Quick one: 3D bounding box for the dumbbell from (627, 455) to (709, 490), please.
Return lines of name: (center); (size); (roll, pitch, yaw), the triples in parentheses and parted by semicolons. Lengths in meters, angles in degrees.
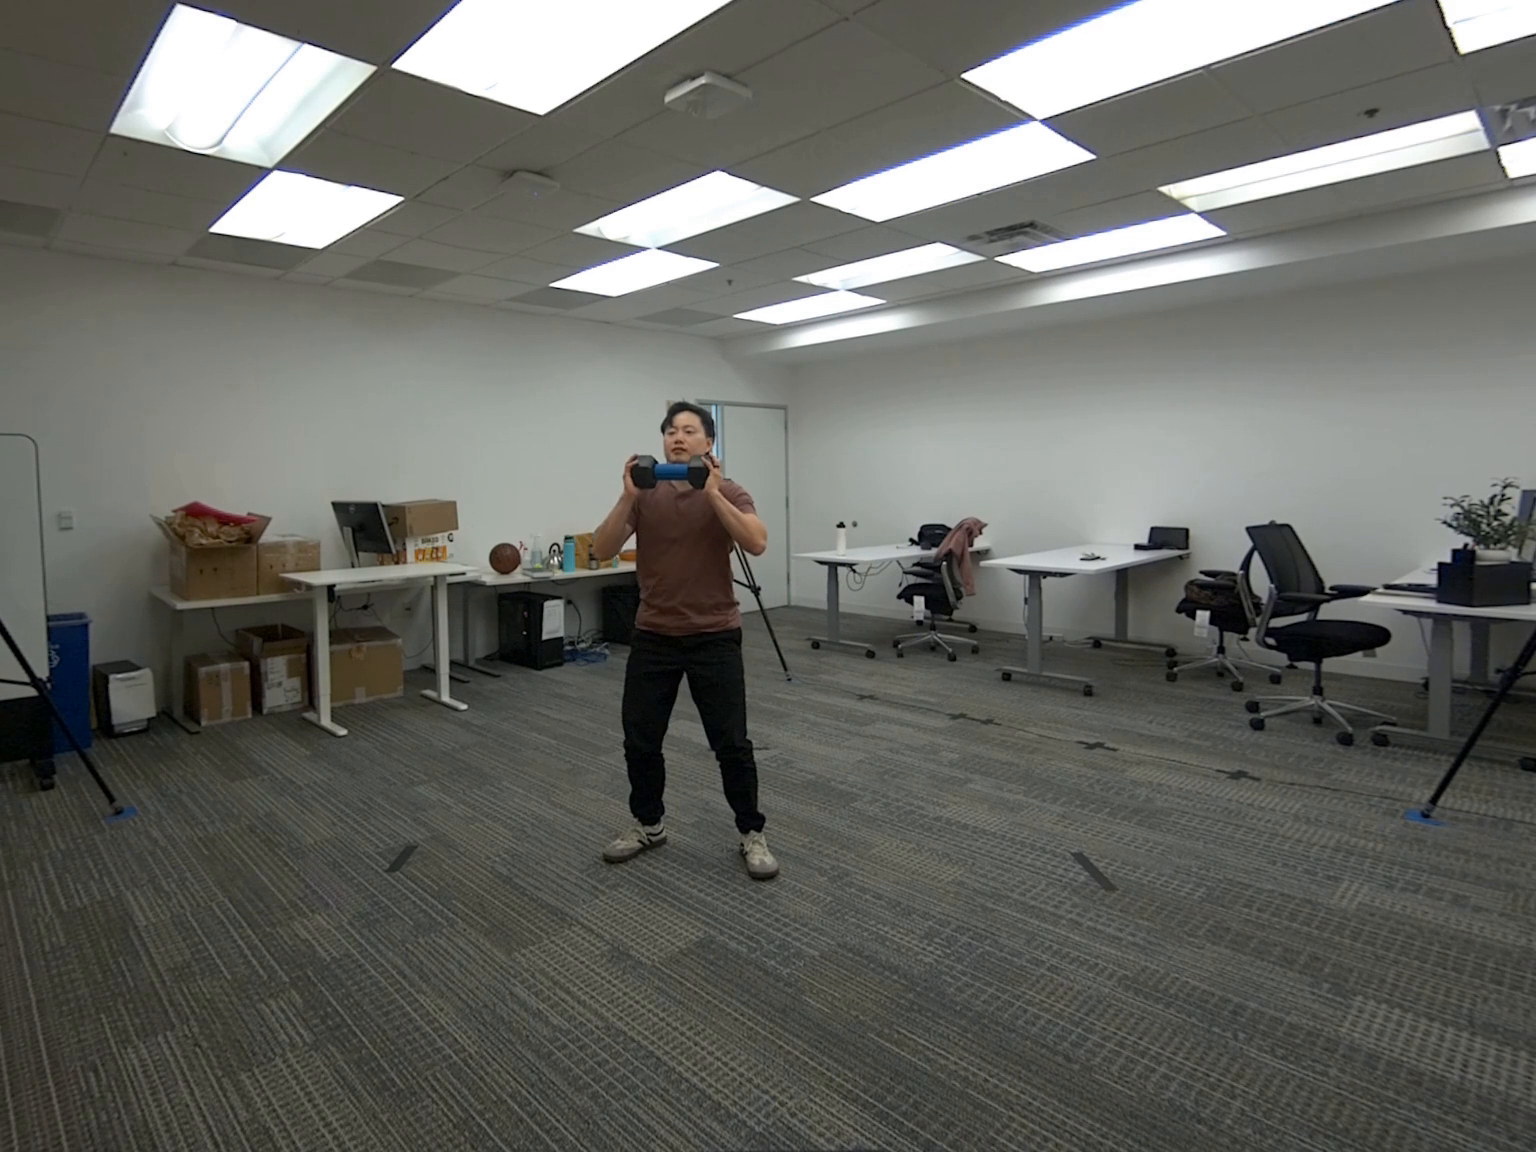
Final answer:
dumbbell: (-0.335, -0.350, 2.993); (0.297, 0.121, 0.109); (3, 16, 11)
